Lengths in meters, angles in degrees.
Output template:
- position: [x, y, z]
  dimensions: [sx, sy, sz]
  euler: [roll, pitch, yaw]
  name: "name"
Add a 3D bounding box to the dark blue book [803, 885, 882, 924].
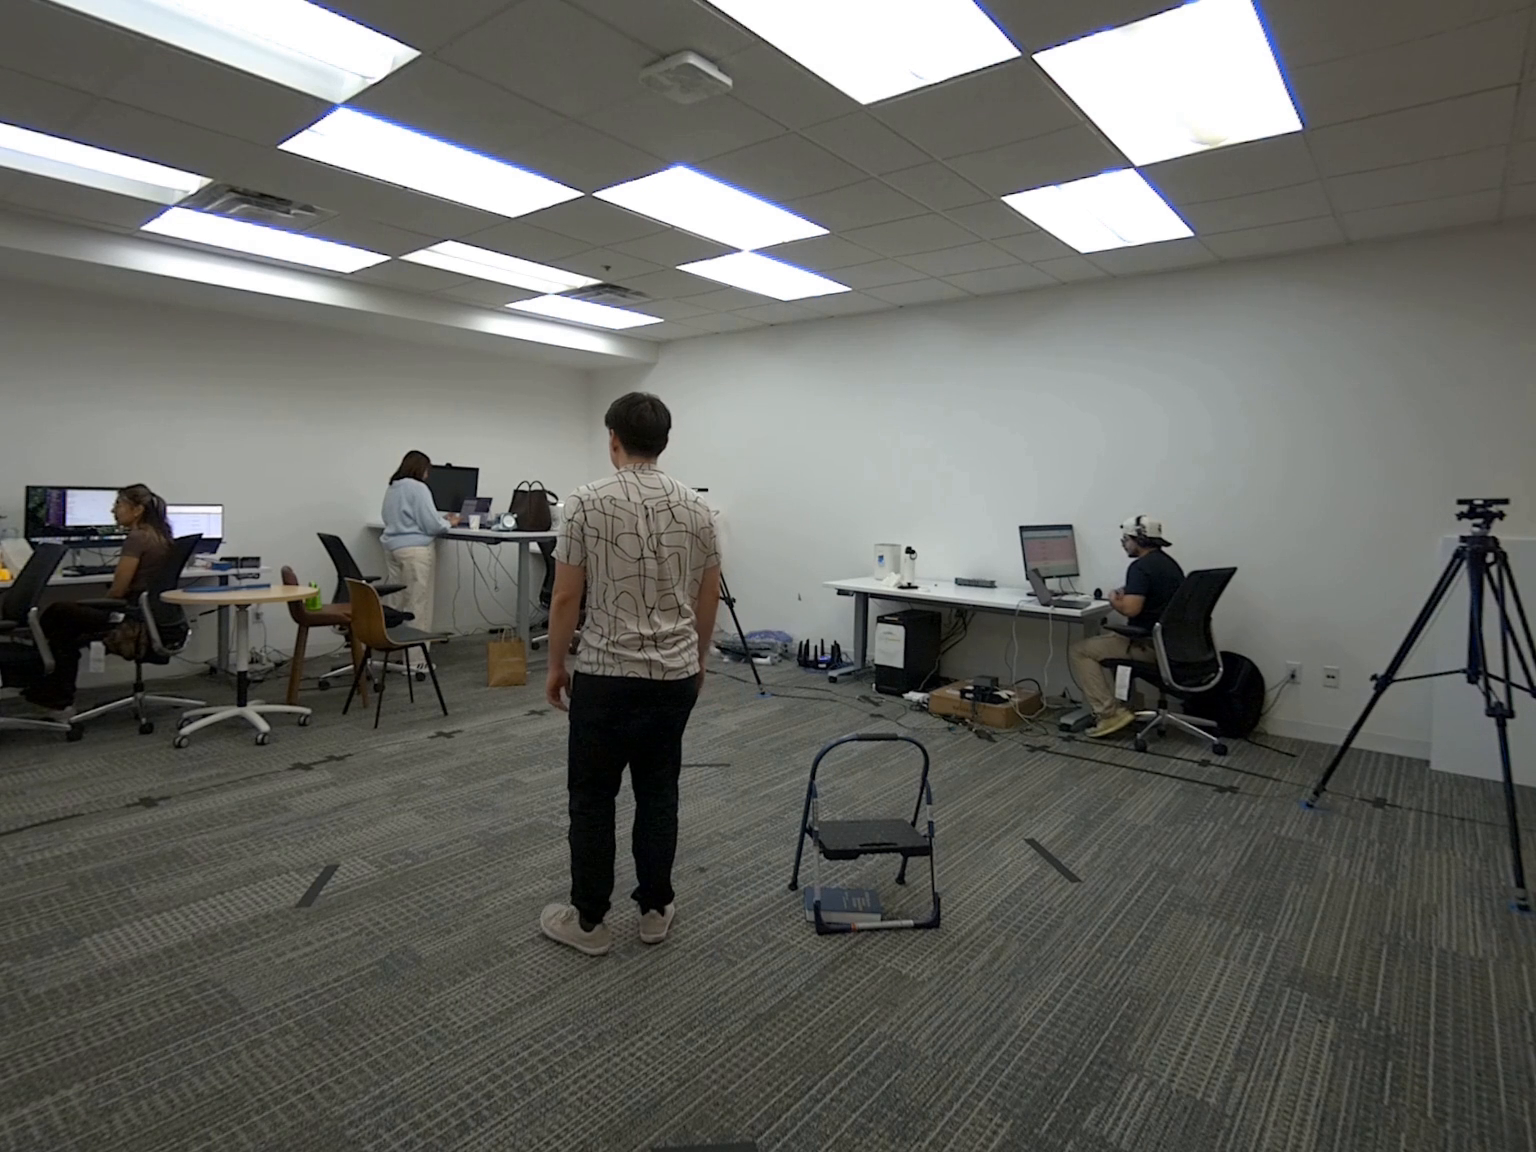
- position: [0.249, 1.094, 2.822]
  dimensions: [0.246, 0.045, 0.164]
  euler: [1, 7, 2]
  name: "dark blue book"
